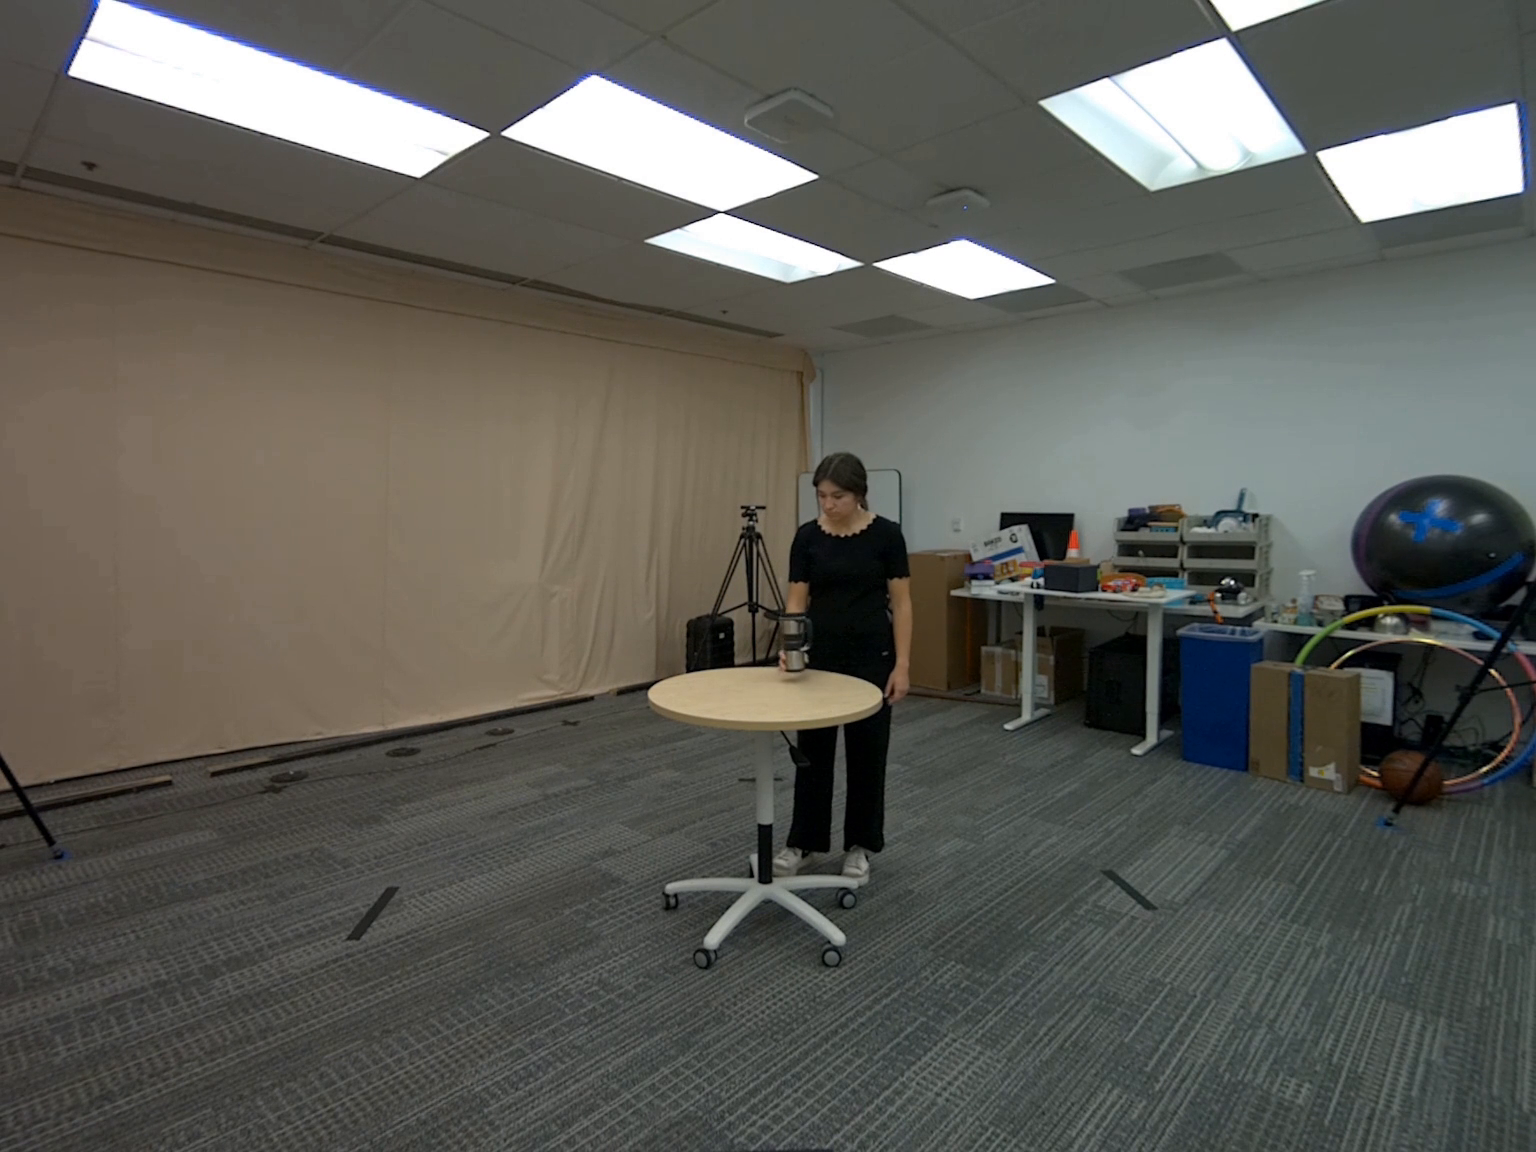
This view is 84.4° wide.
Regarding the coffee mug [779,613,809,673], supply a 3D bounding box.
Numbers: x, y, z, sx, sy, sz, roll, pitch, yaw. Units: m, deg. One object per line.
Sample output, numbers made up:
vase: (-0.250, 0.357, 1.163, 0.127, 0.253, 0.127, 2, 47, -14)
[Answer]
coffee mug: (0.077, 0.231, 2.872, 0.089, 0.203, 0.119, -4, -2, 19)
